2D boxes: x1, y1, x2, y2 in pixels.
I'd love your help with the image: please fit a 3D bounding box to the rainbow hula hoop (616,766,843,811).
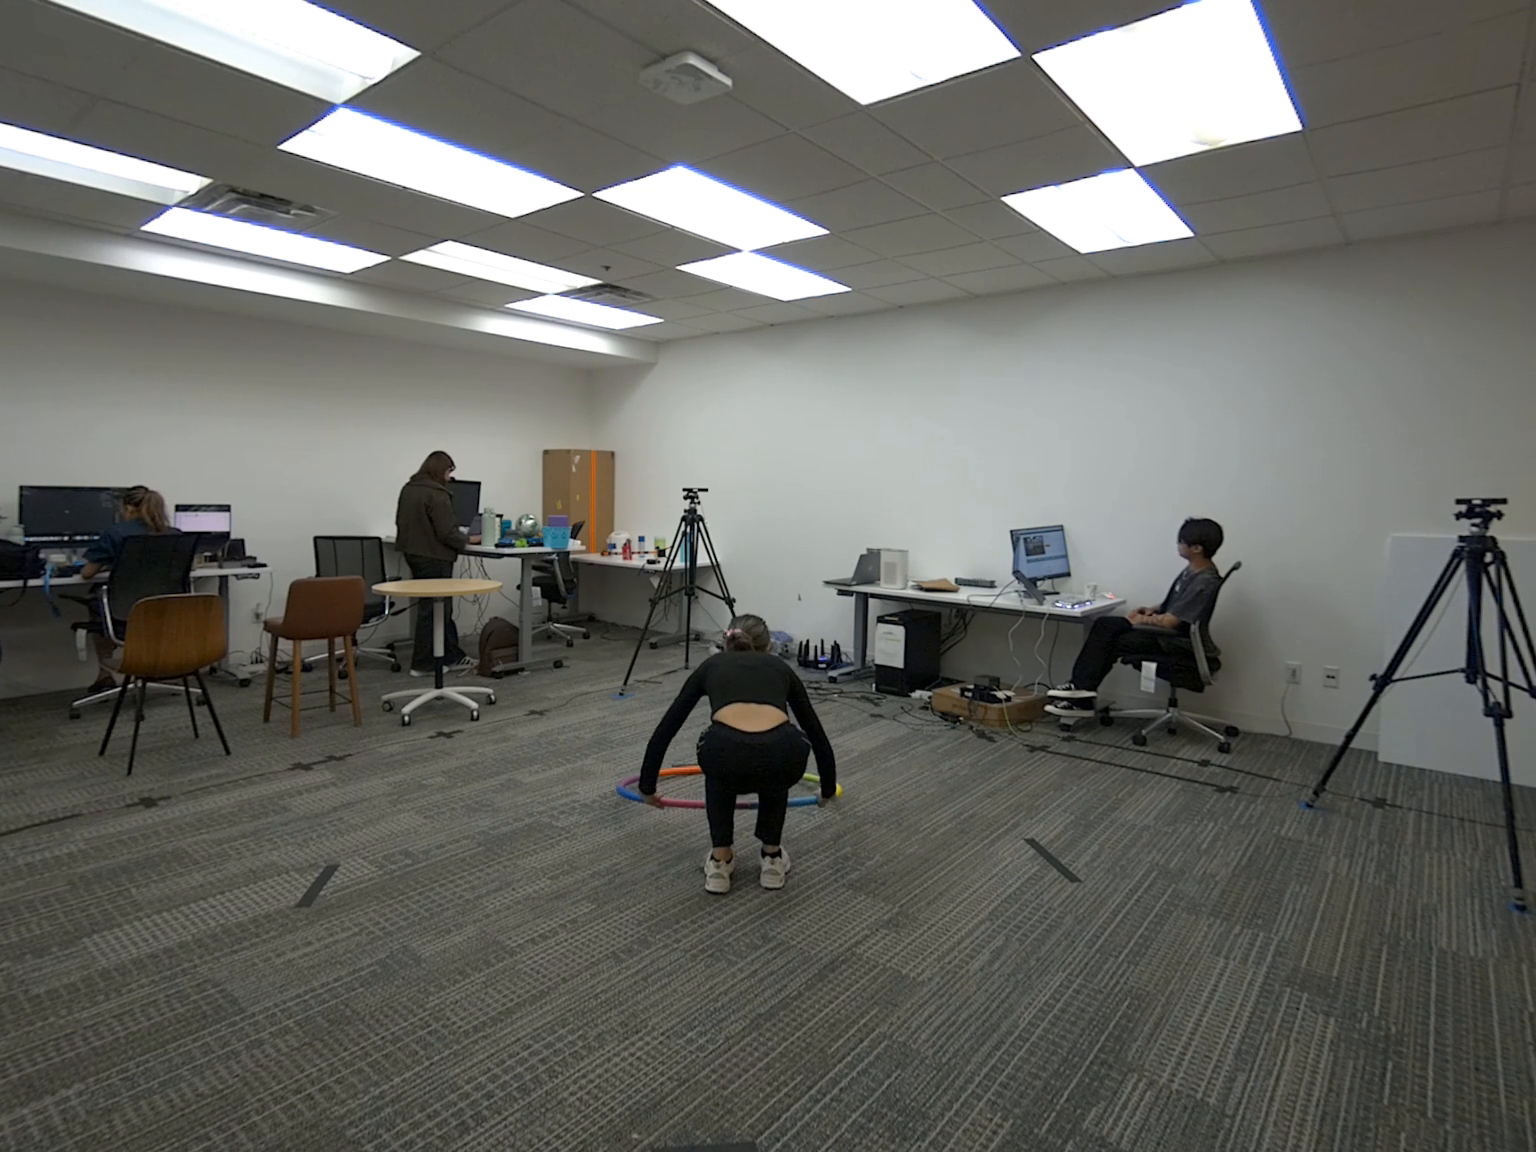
[{"bbox_3d":[-0.190,0.902,3.713,0.978,0.036,0.974,0,-4,-2],"label":"rainbow hula hoop"}]
